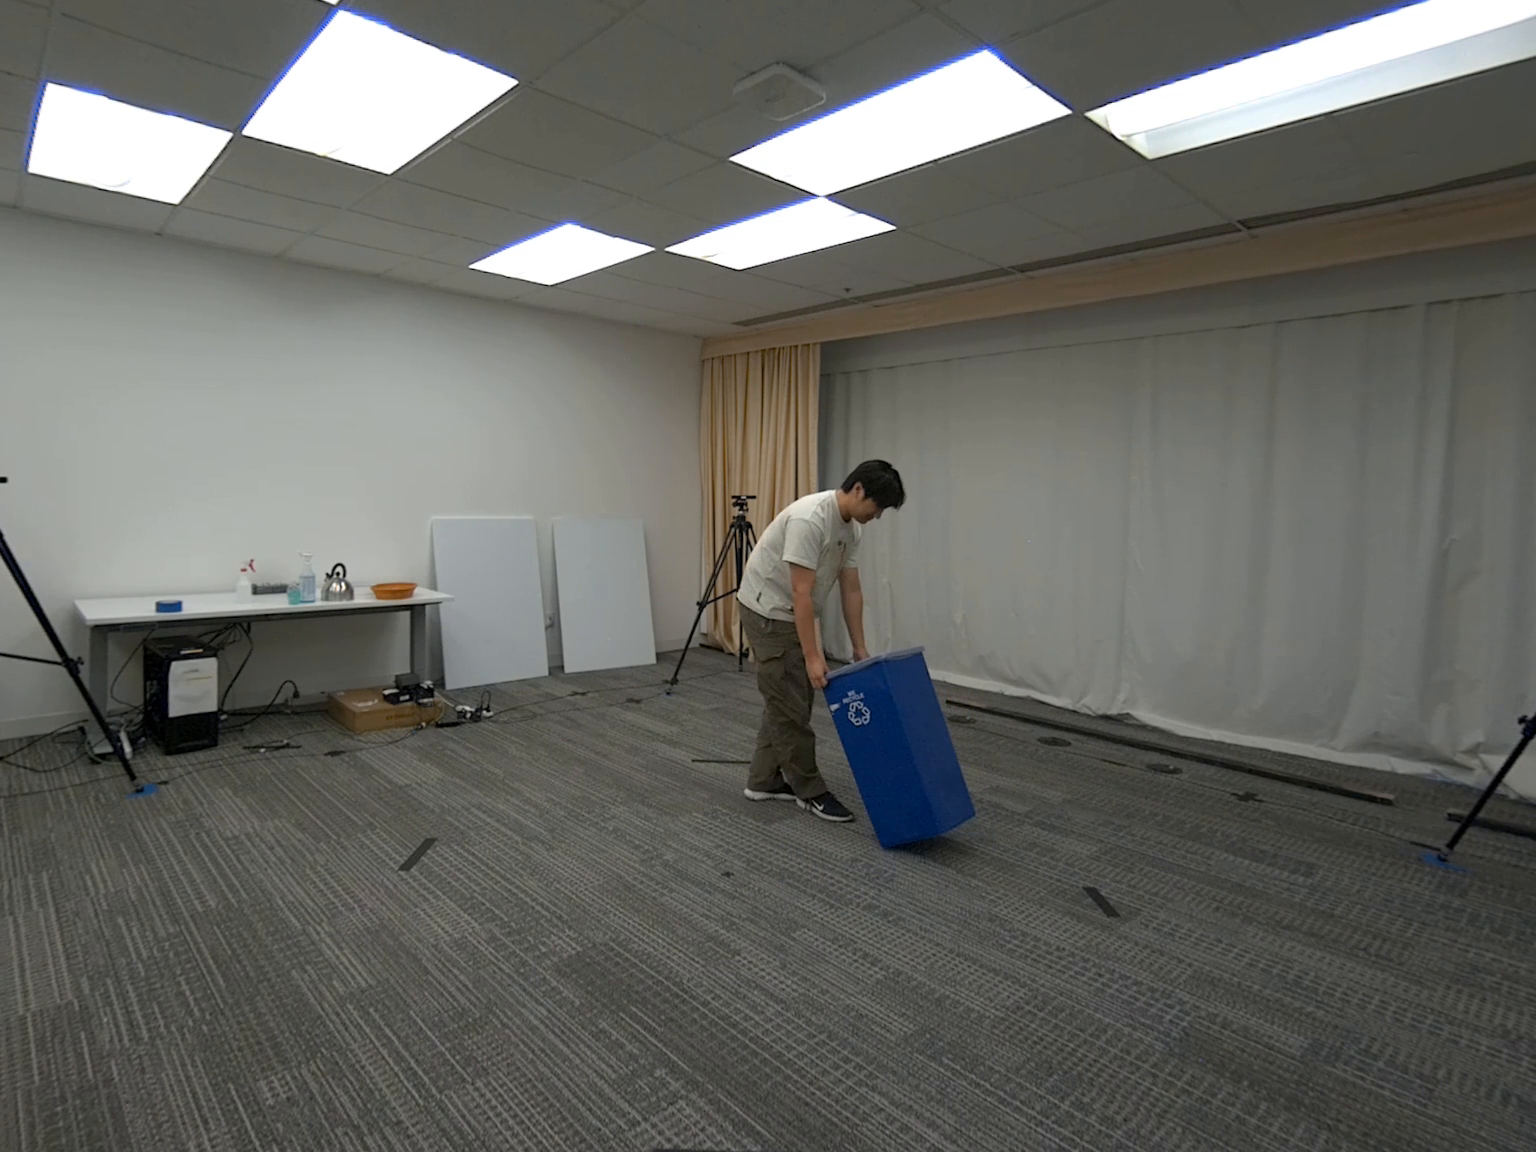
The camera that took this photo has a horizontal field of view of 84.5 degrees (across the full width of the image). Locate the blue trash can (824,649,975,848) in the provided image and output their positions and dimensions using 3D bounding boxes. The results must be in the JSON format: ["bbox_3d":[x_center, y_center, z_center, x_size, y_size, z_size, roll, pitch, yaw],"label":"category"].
[{"bbox_3d":[0.533,0.692,3.474,0.378,0.723,0.369,-29,-17,37],"label":"blue trash can"}]
